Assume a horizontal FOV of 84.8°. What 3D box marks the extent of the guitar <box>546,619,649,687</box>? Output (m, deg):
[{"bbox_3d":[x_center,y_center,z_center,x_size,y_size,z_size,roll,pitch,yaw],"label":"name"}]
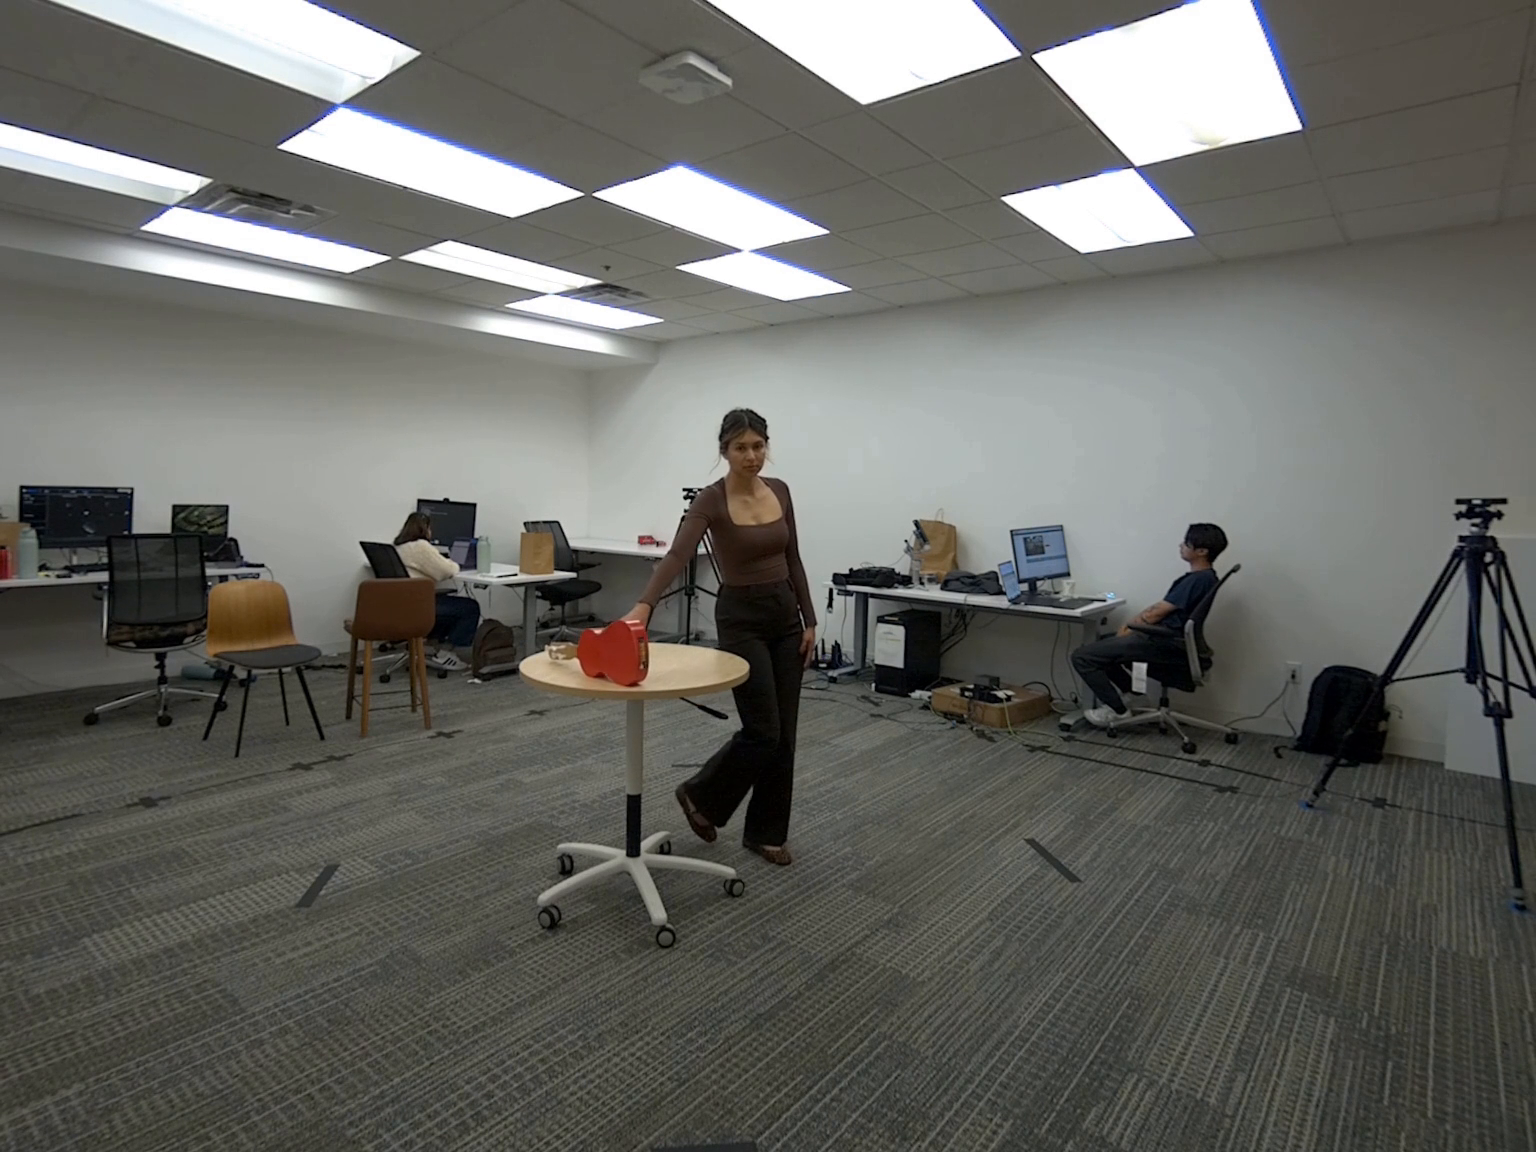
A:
[{"bbox_3d":[-0.566,0.268,2.694,0.508,0.195,0.068,-17,-9,41],"label":"guitar"}]
